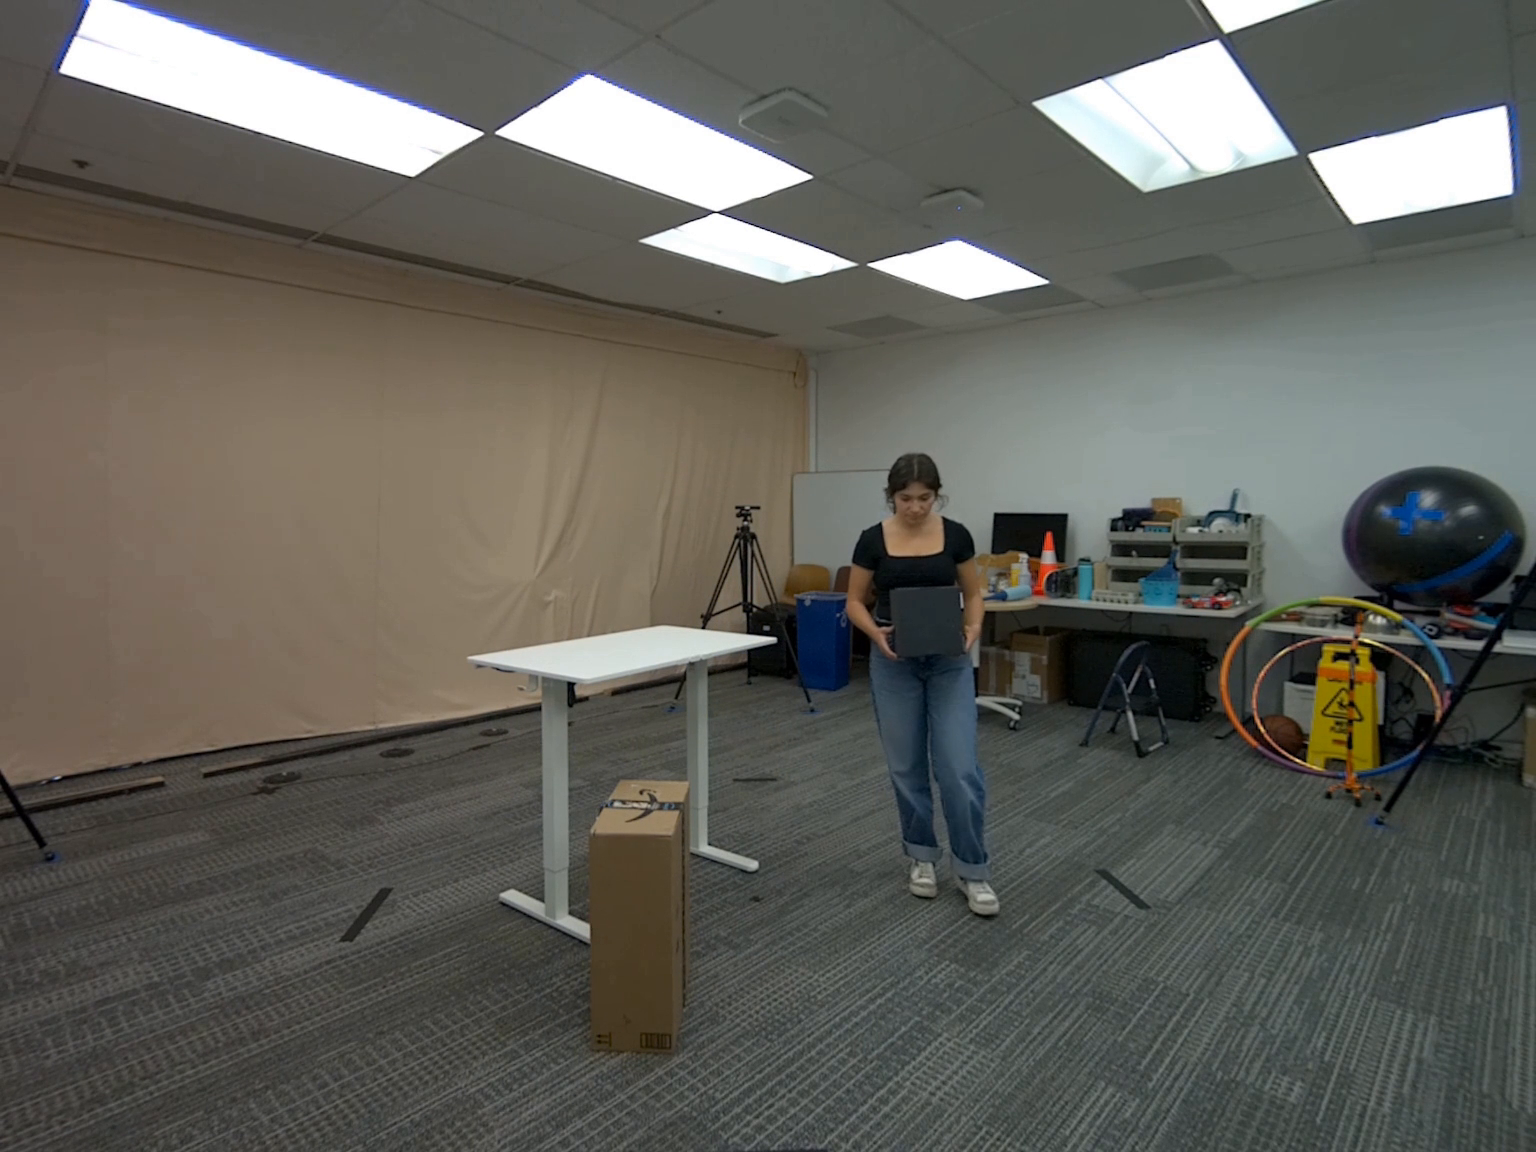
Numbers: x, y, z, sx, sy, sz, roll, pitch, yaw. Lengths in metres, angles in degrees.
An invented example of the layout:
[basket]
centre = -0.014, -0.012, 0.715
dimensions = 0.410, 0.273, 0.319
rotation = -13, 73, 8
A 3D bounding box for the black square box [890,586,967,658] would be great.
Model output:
[black square box]
centre = 0.557, 0.150, 2.857
dimensions = 0.218, 0.228, 0.155
rotation = -1, -2, 3
